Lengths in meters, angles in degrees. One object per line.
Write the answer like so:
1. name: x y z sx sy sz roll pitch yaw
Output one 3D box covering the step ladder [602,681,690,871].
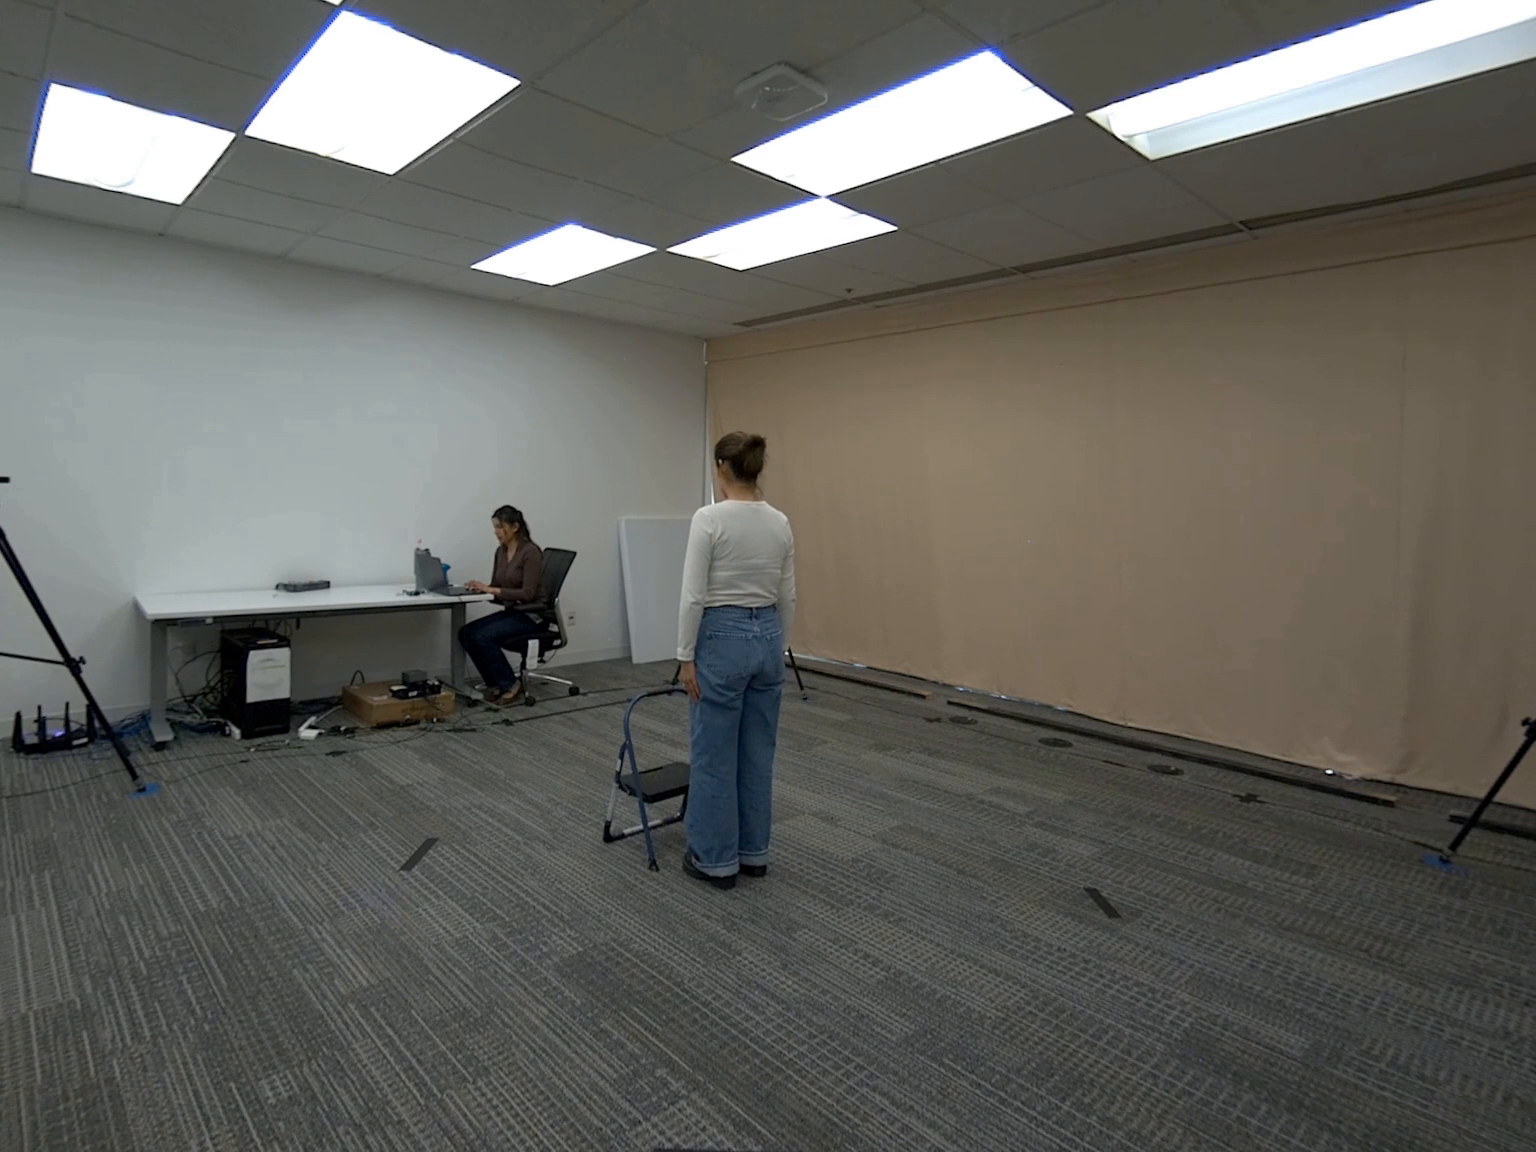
1. step ladder: -0.393 0.768 3.370 0.421 0.604 0.358 -2 5 -44
